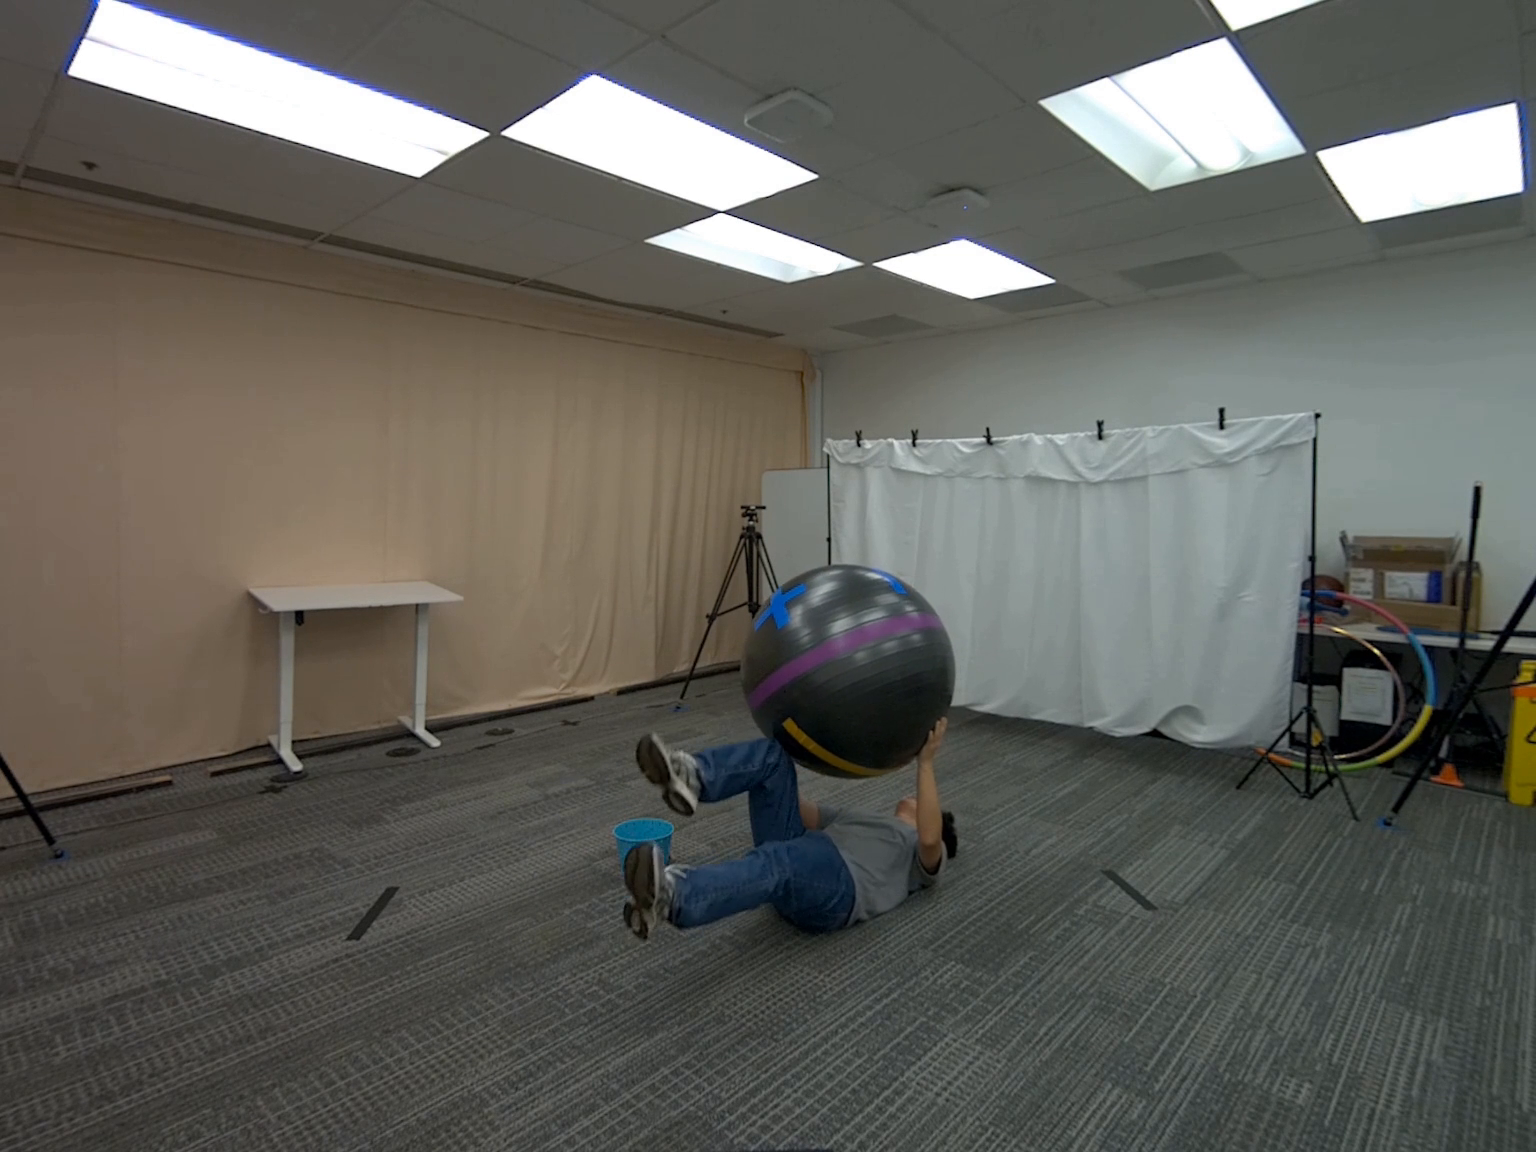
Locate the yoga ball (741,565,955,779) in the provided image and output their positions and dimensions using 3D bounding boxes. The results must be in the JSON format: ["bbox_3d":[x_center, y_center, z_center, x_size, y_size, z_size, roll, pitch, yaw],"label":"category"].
[{"bbox_3d":[0.298,0.337,3.046,0.757,0.756,0.760,0,4,-2],"label":"yoga ball"}]
